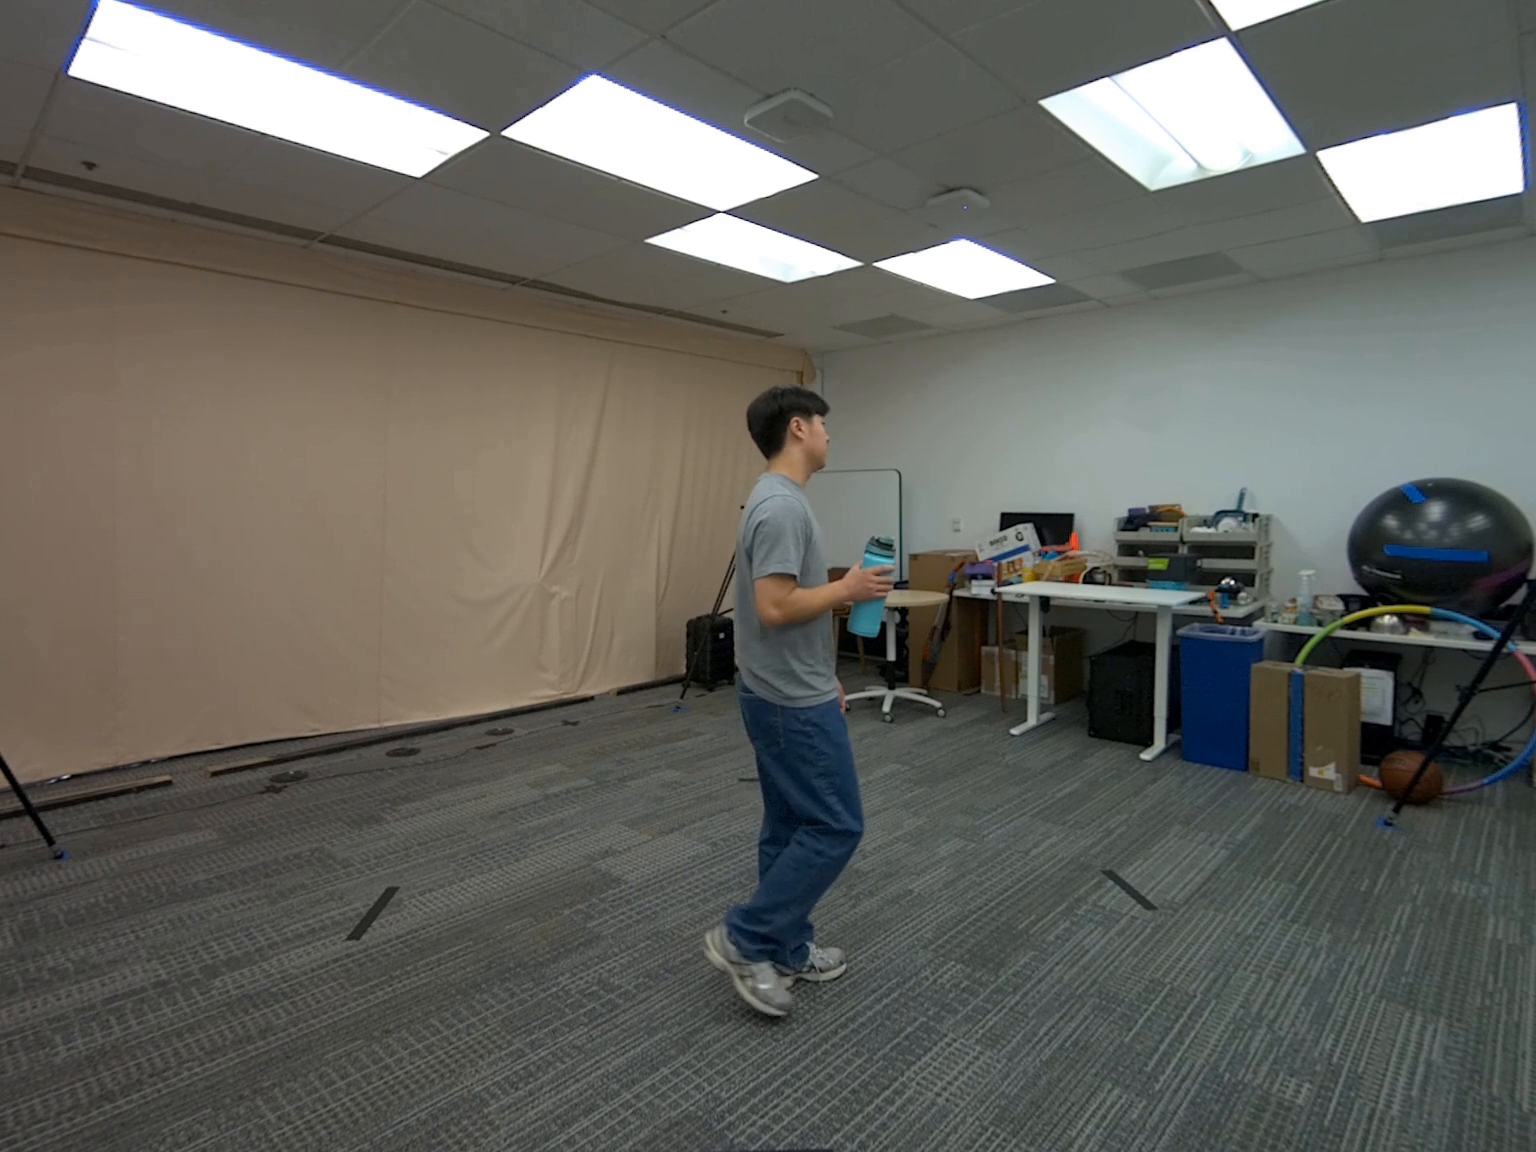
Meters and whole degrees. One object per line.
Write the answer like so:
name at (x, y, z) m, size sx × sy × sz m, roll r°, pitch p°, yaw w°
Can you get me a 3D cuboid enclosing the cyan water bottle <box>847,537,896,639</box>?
cyan water bottle at (0.298, 0.028, 2.353) m, size 0.092 × 0.282 × 0.093 m, roll 11°, pitch 7°, yaw -4°
